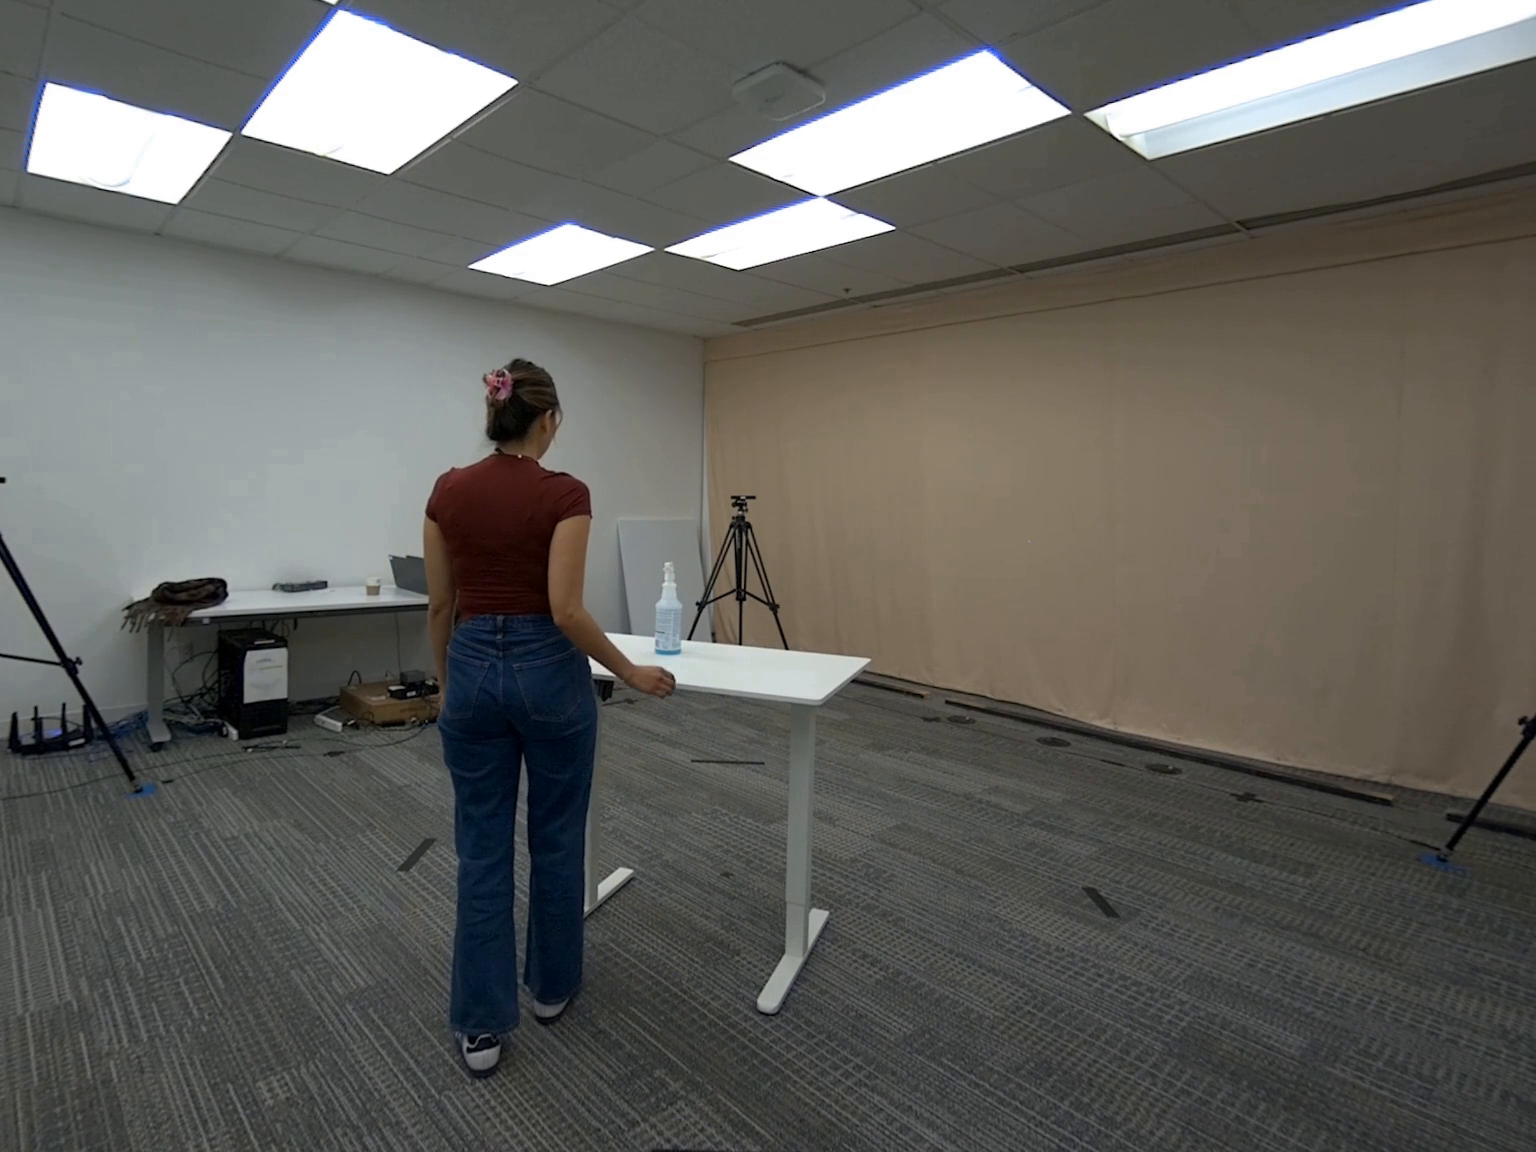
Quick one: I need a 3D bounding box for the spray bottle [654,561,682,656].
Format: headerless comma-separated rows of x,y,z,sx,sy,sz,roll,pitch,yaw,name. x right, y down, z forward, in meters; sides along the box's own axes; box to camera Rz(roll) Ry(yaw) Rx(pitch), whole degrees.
-0.331,0.107,2.721,0.089,0.296,0.088,3,5,30,spray bottle
